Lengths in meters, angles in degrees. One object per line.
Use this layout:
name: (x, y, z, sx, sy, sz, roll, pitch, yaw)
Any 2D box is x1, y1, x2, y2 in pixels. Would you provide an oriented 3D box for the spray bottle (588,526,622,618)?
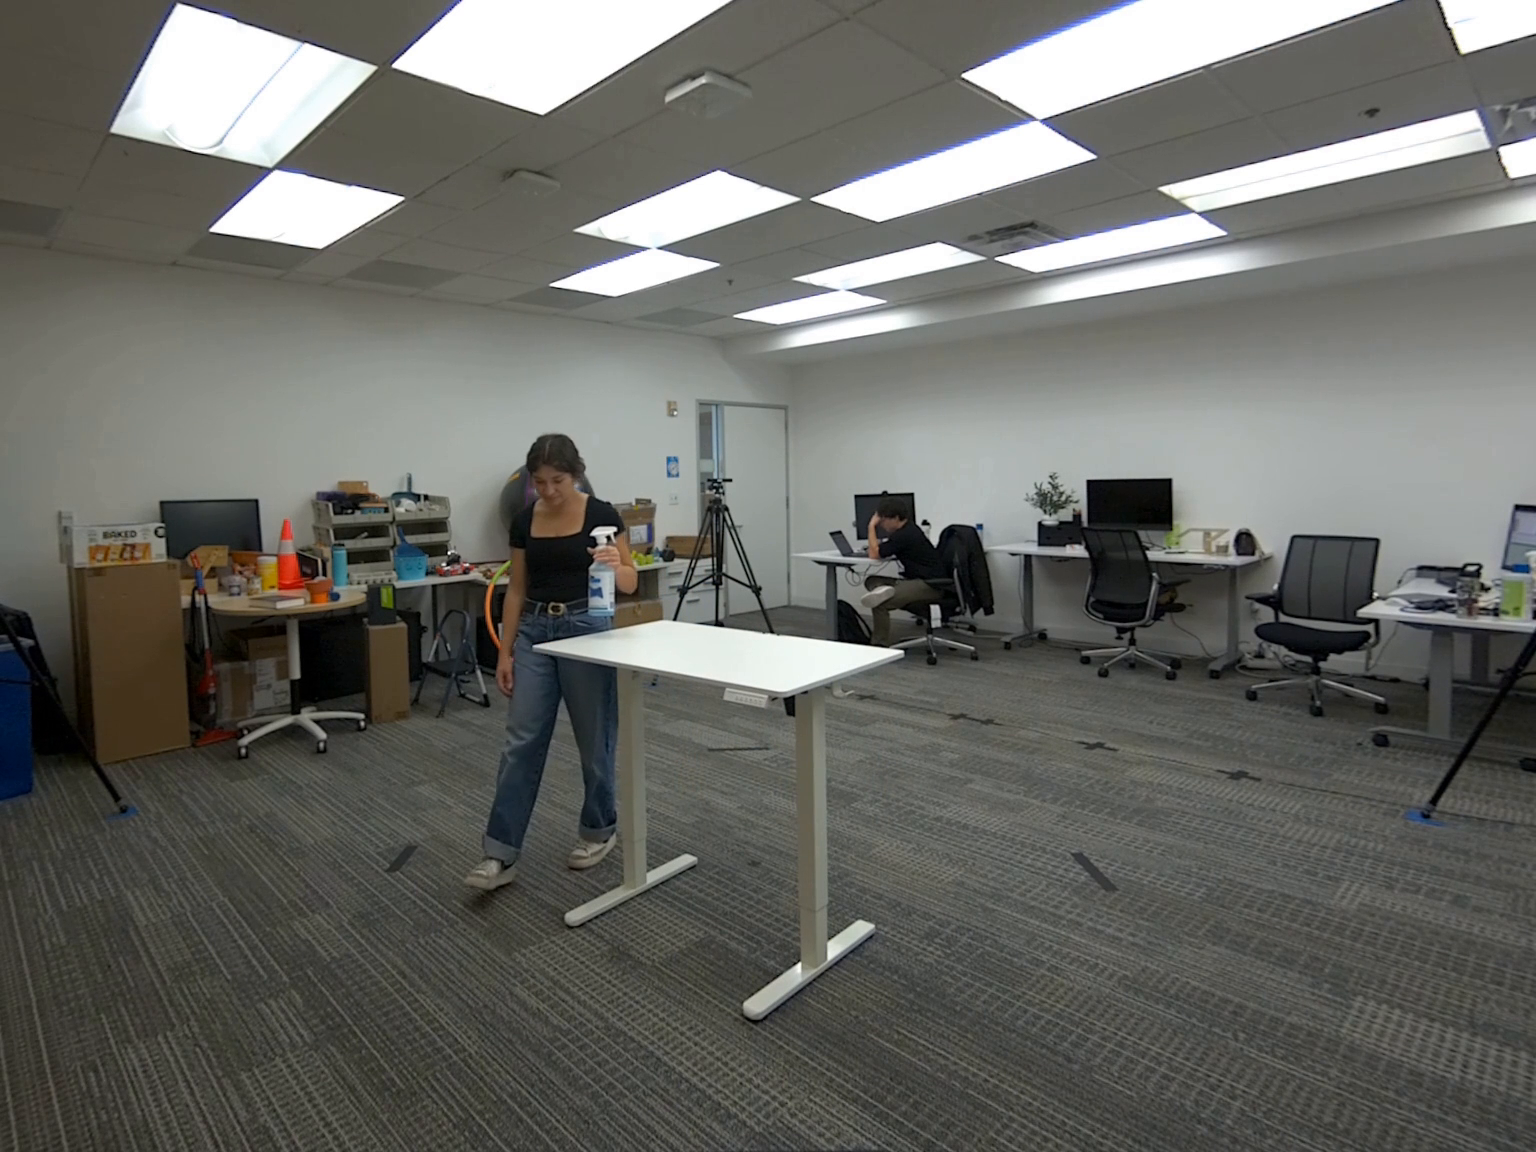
spray bottle: (-0.568, -0.014, 2.848, 0.090, 0.298, 0.087, 2, -3, -5)
